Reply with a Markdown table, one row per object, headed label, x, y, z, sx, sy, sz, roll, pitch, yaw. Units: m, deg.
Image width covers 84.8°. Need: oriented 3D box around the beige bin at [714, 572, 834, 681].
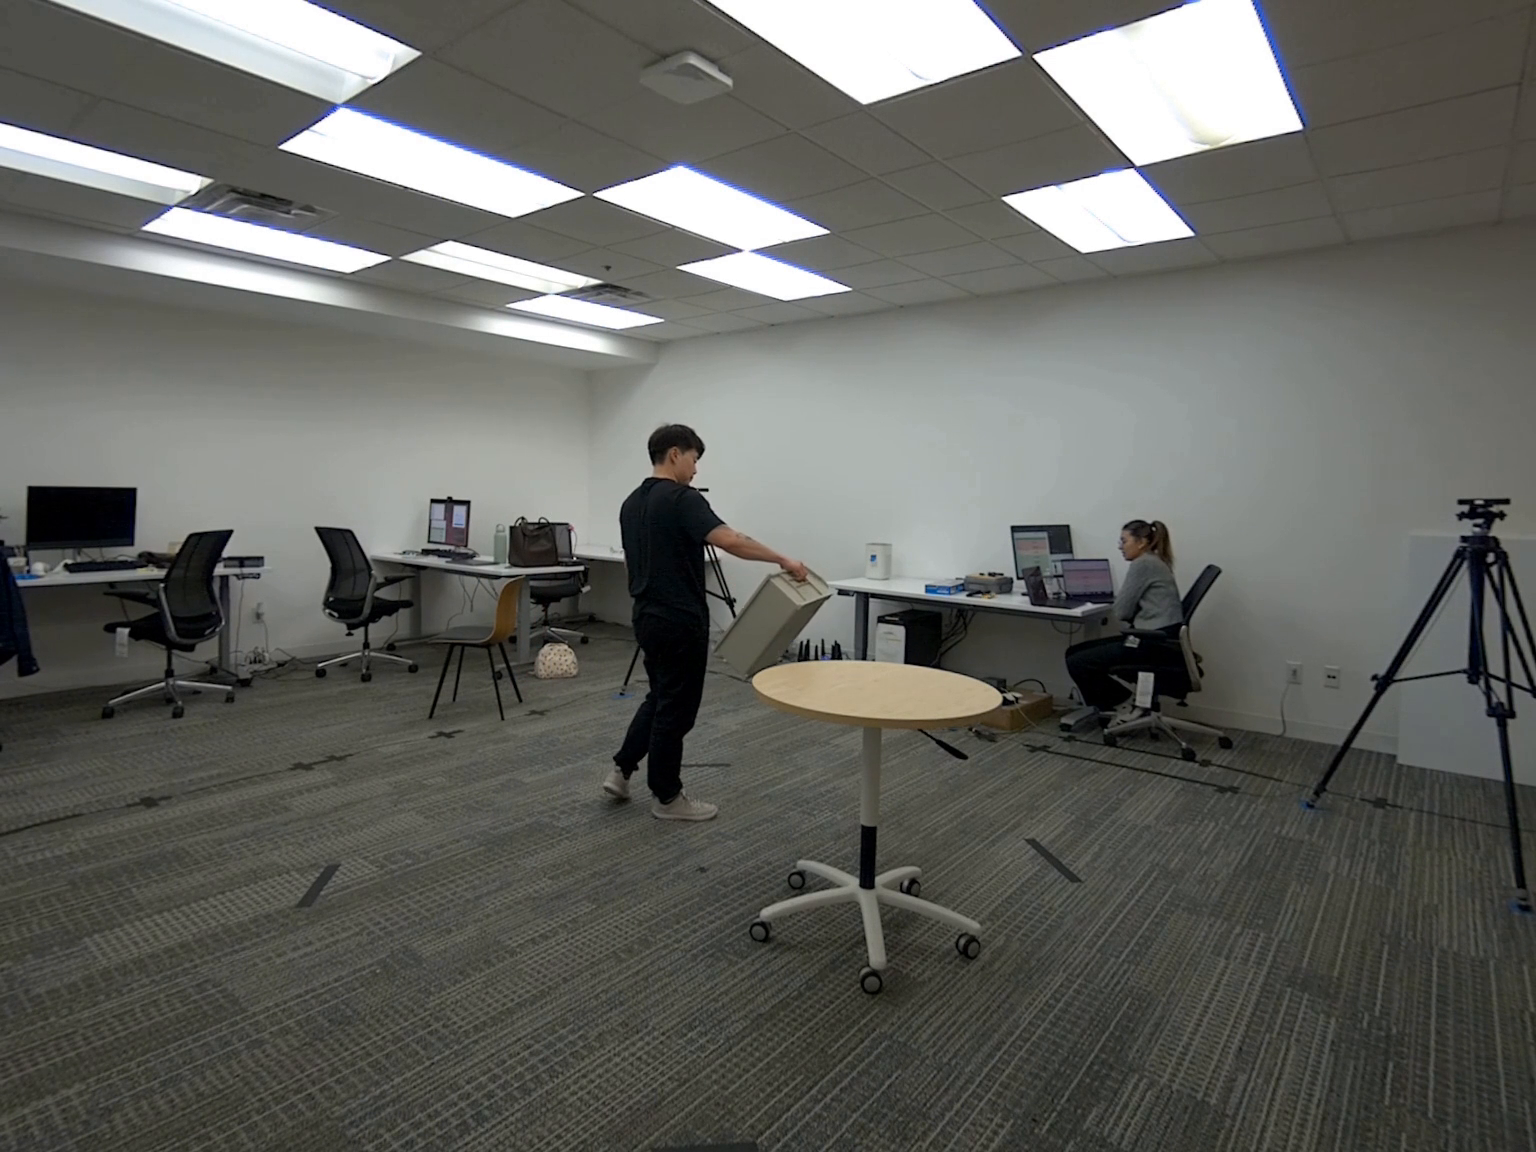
| label | x | y | z | sx | sy | sz | roll | pitch | yaw |
| --- | --- | --- | --- | --- | --- | --- | --- | --- | --- |
| beige bin | 0.026 | 0.185 | 3.442 | 0.194 | 0.420 | 0.368 | 43 | 23 | 18 |
